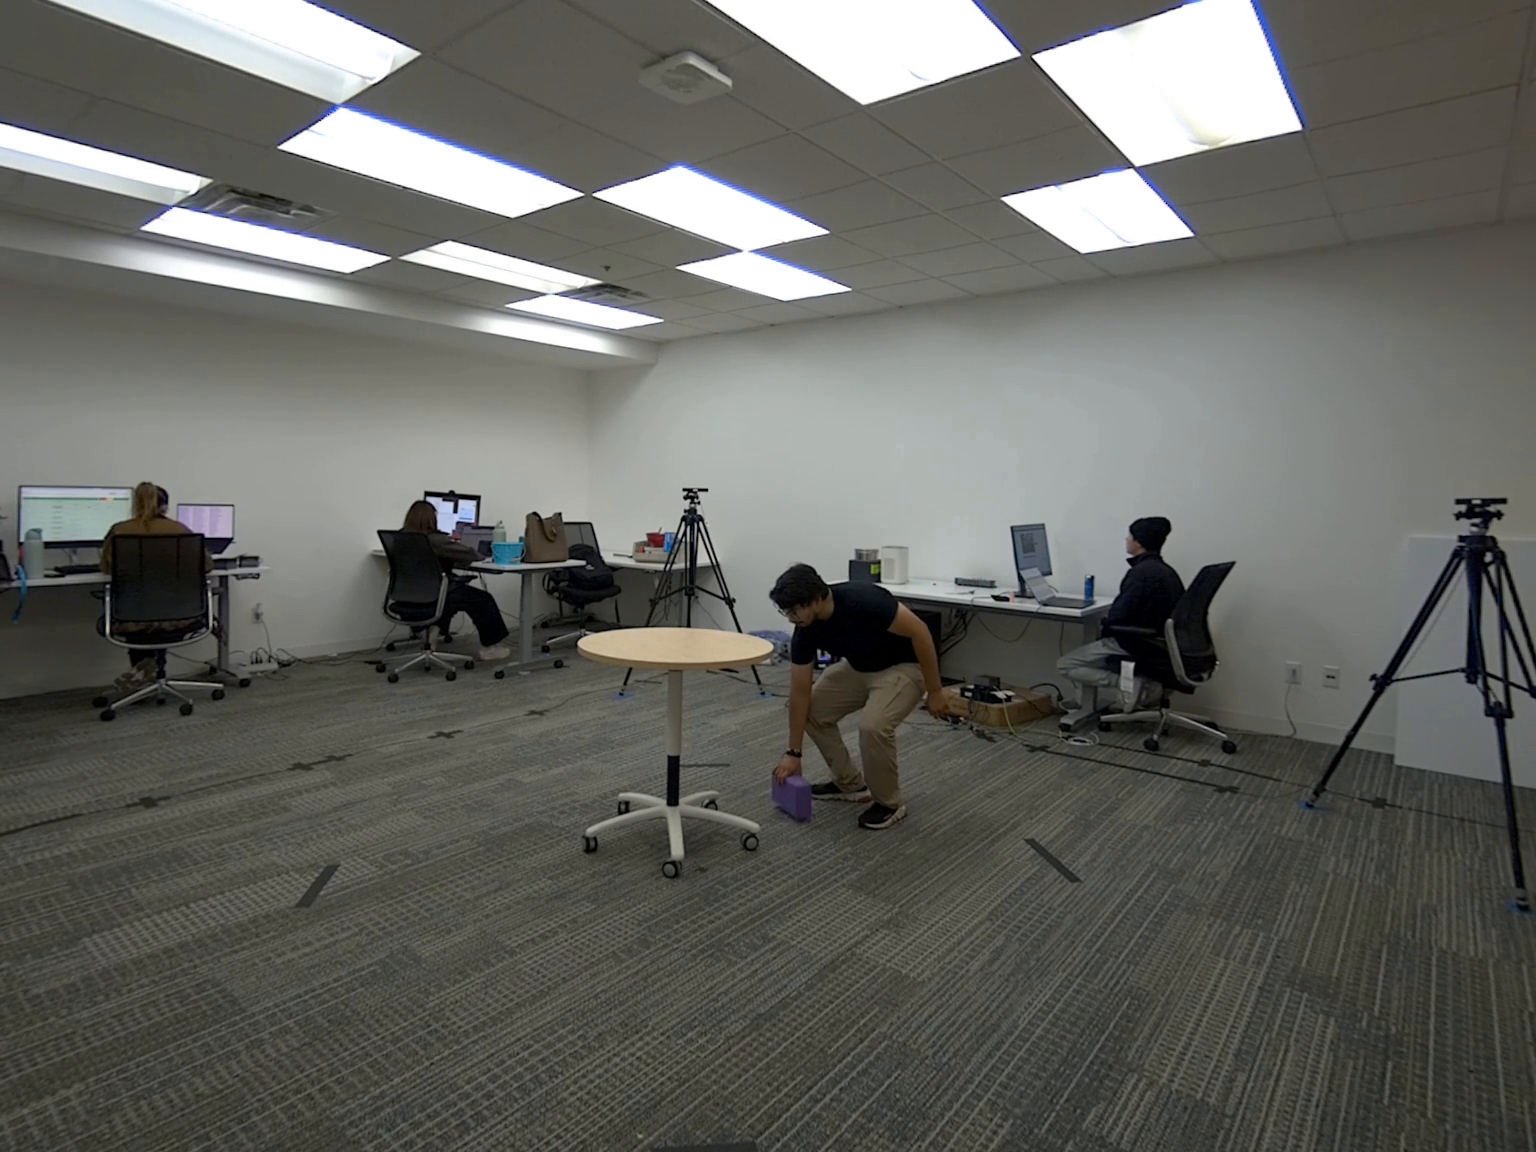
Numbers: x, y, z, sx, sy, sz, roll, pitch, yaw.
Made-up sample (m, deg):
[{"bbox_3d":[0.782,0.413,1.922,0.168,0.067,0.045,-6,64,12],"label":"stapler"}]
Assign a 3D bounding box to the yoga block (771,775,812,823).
[{"bbox_3d":[0.097,0.923,3.676,0.074,0.148,0.236,1,5,-27],"label":"yoga block"}]
